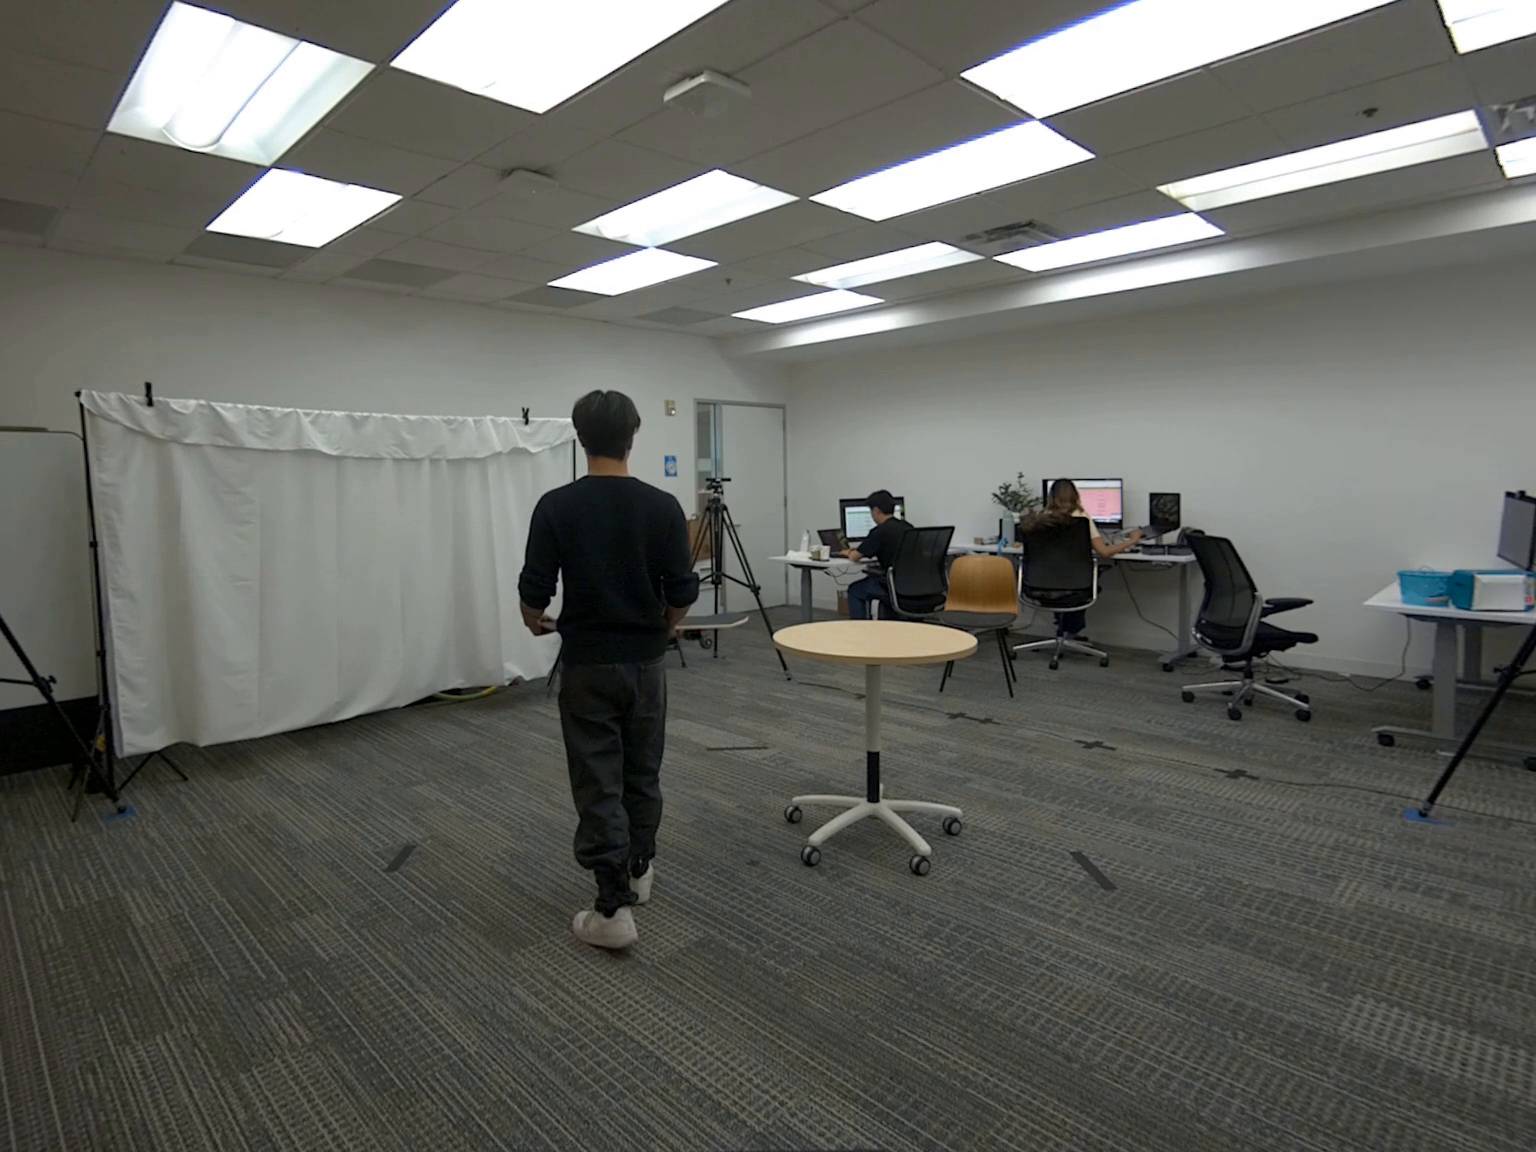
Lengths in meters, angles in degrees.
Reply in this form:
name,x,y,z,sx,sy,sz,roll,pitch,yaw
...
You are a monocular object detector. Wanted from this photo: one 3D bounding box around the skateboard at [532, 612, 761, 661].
name,x,y,z,sx,sy,sz,roll,pitch,yaw
skateboard,-0.423,0.206,3.044,0.767,0.110,0.198,-1,5,-27
